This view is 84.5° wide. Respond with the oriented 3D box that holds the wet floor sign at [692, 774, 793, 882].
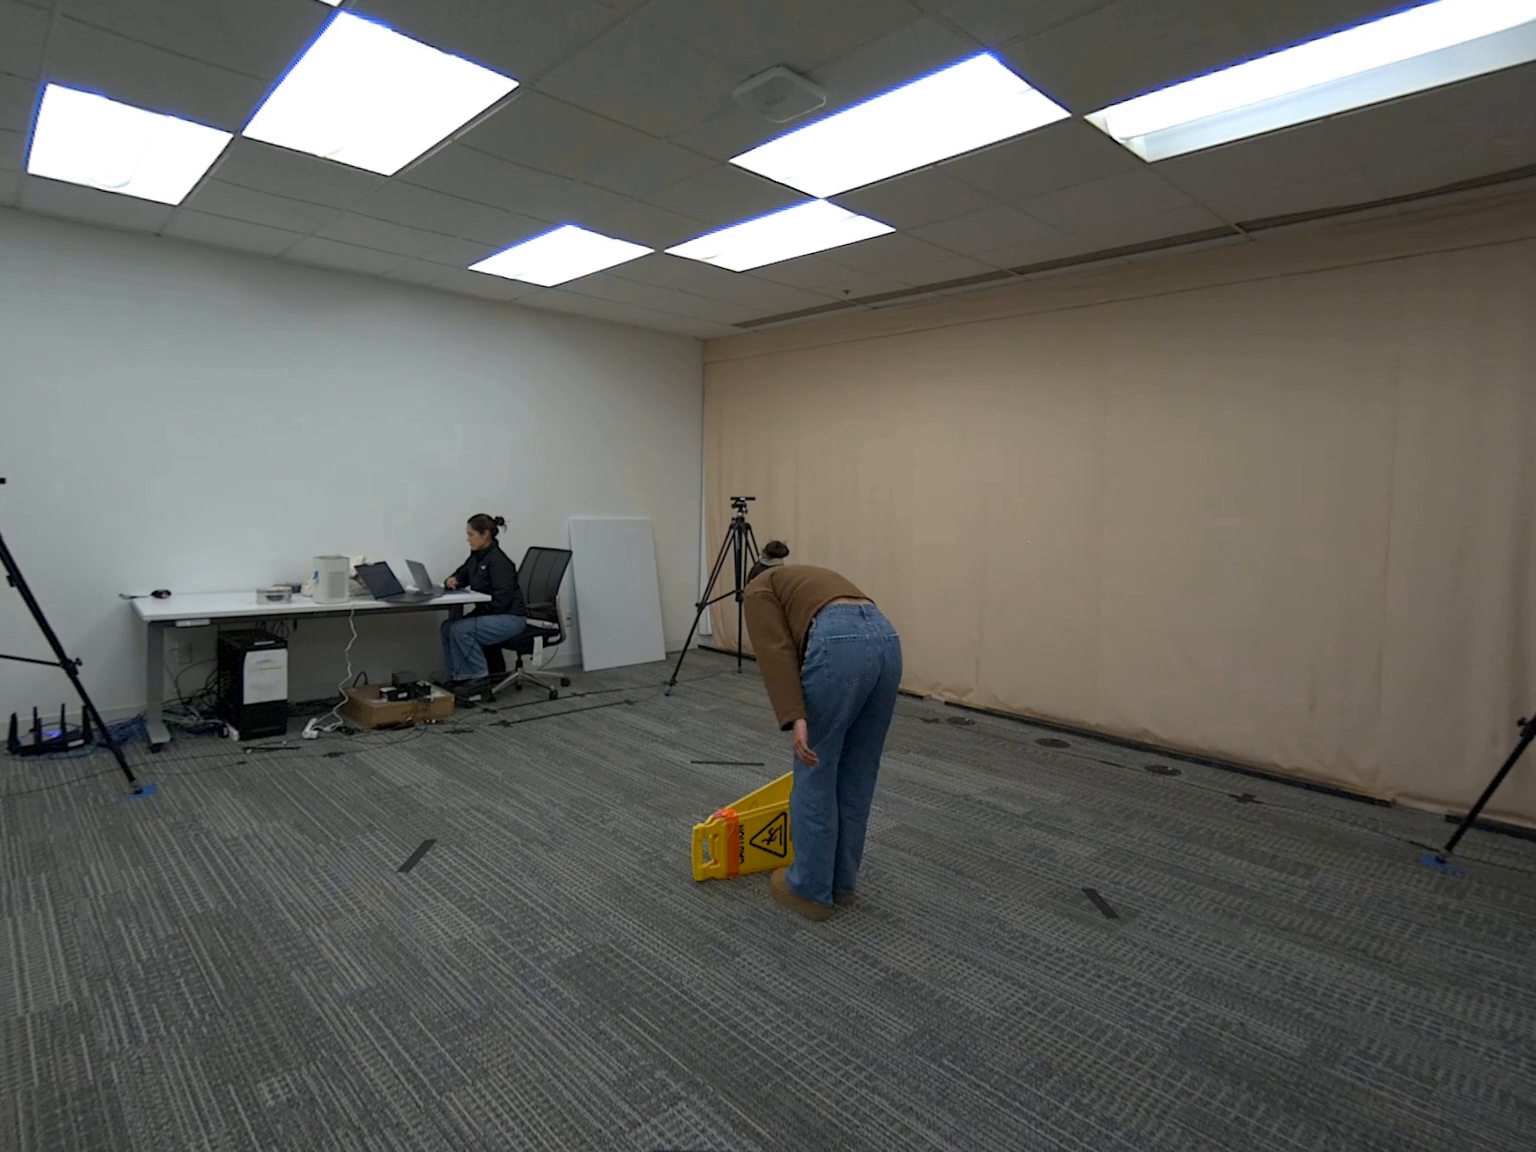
[{"bbox_3d":[-0.019,0.971,3.214,0.633,0.281,0.297,-7,8,-38],"label":"wet floor sign"}]
